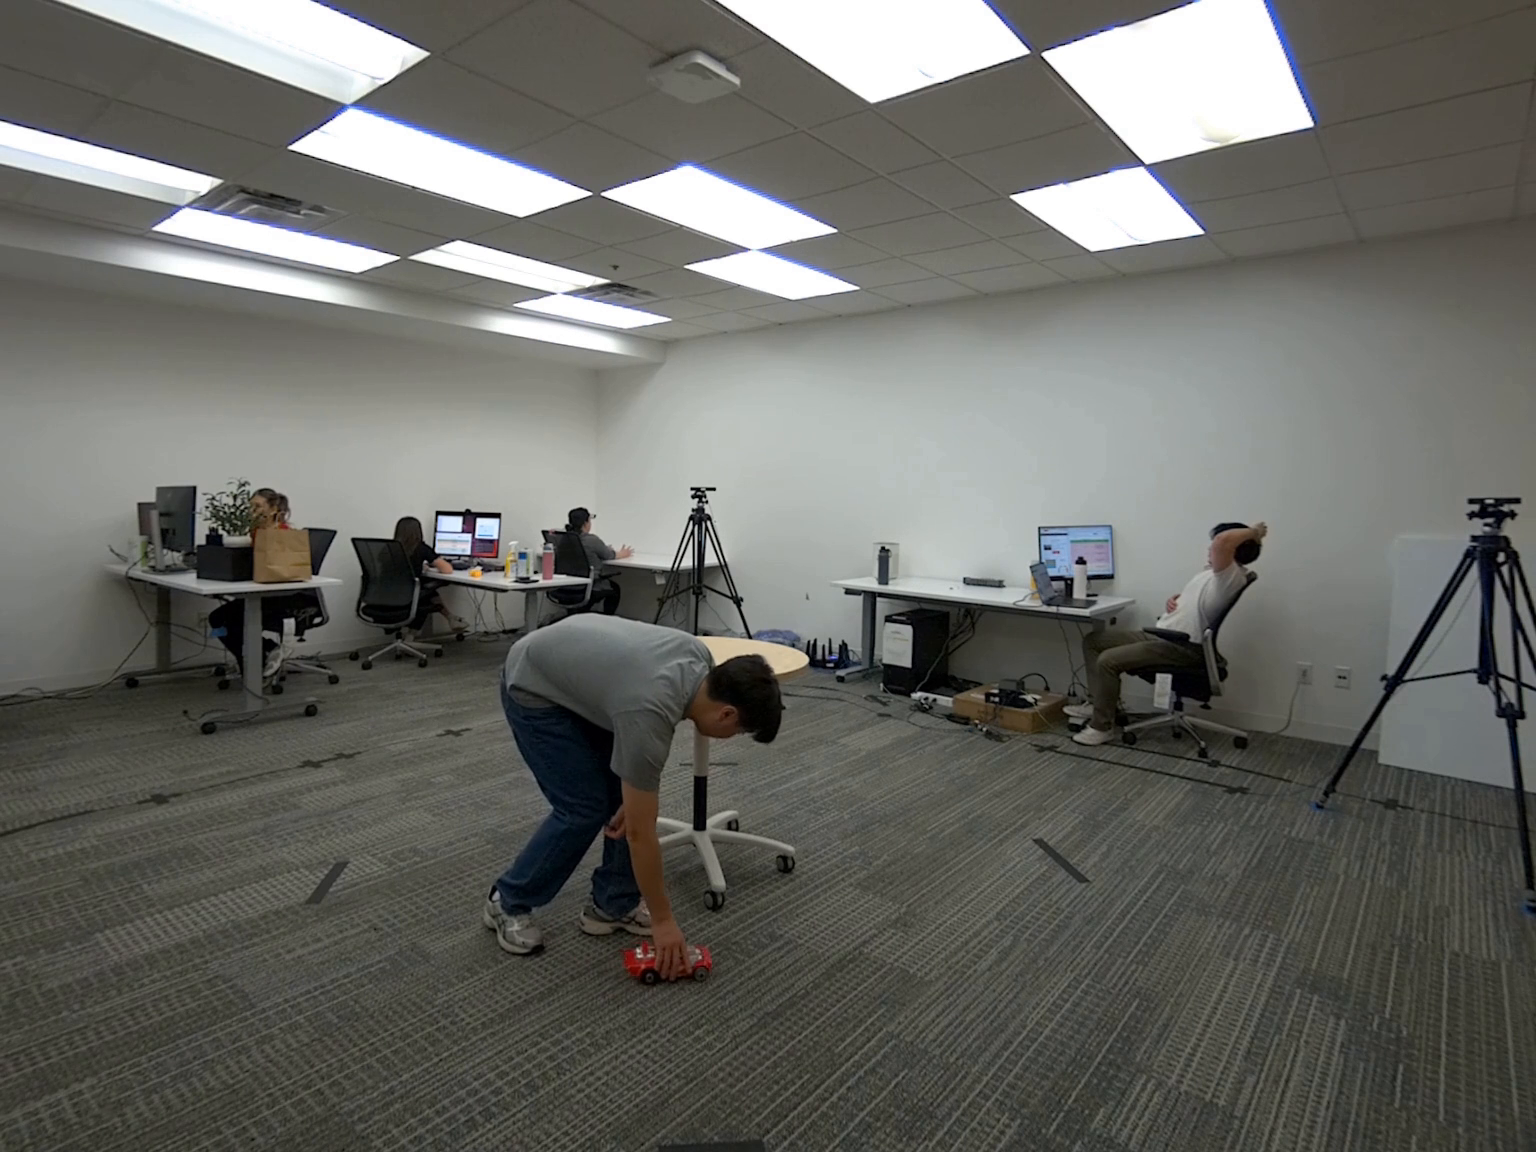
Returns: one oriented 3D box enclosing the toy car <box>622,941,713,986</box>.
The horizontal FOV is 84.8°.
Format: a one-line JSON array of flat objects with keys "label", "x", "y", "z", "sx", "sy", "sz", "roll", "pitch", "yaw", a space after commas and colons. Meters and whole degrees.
[{"label": "toy car", "x": -0.301, "y": 1.106, "z": 2.423, "sx": 0.251, "sy": 0.083, "sz": 0.132, "roll": 12, "pitch": 4, "yaw": -11}]
